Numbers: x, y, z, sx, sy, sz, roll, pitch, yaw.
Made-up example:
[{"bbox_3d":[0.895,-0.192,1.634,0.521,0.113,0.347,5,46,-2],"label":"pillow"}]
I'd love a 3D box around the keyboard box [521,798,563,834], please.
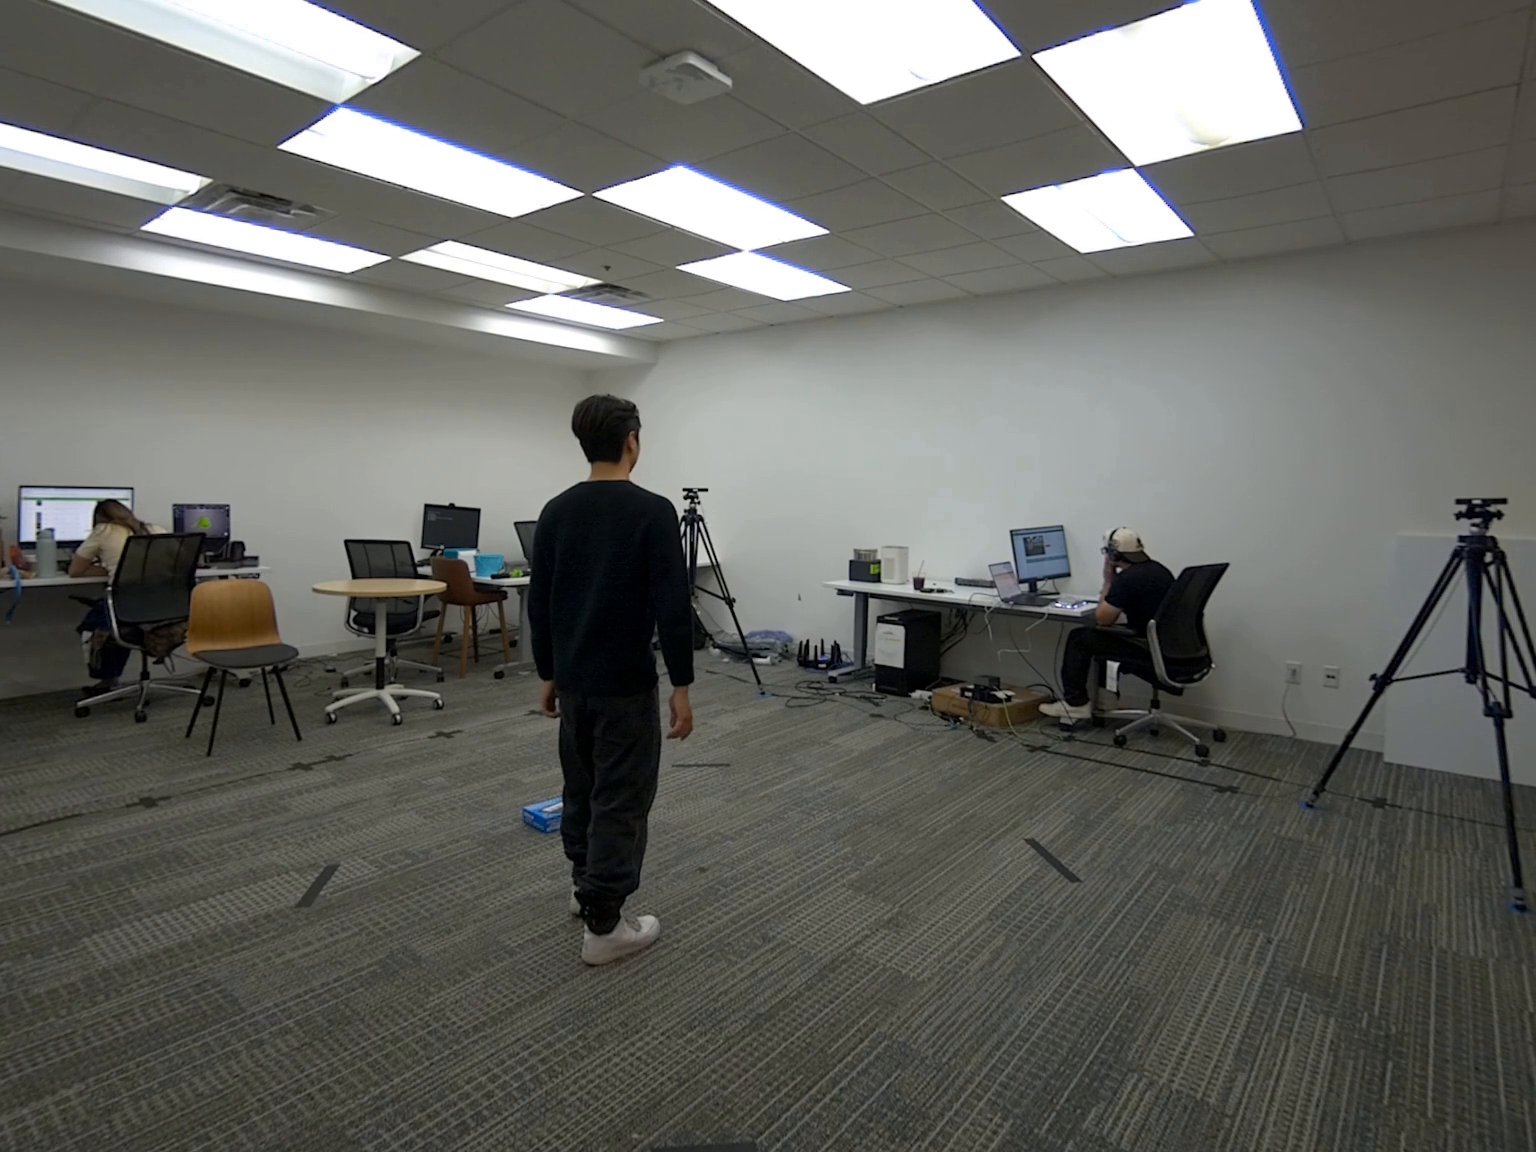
[{"bbox_3d":[-0.823,0.978,3.613,0.182,0.059,0.424,5,7,43],"label":"keyboard box"}]
